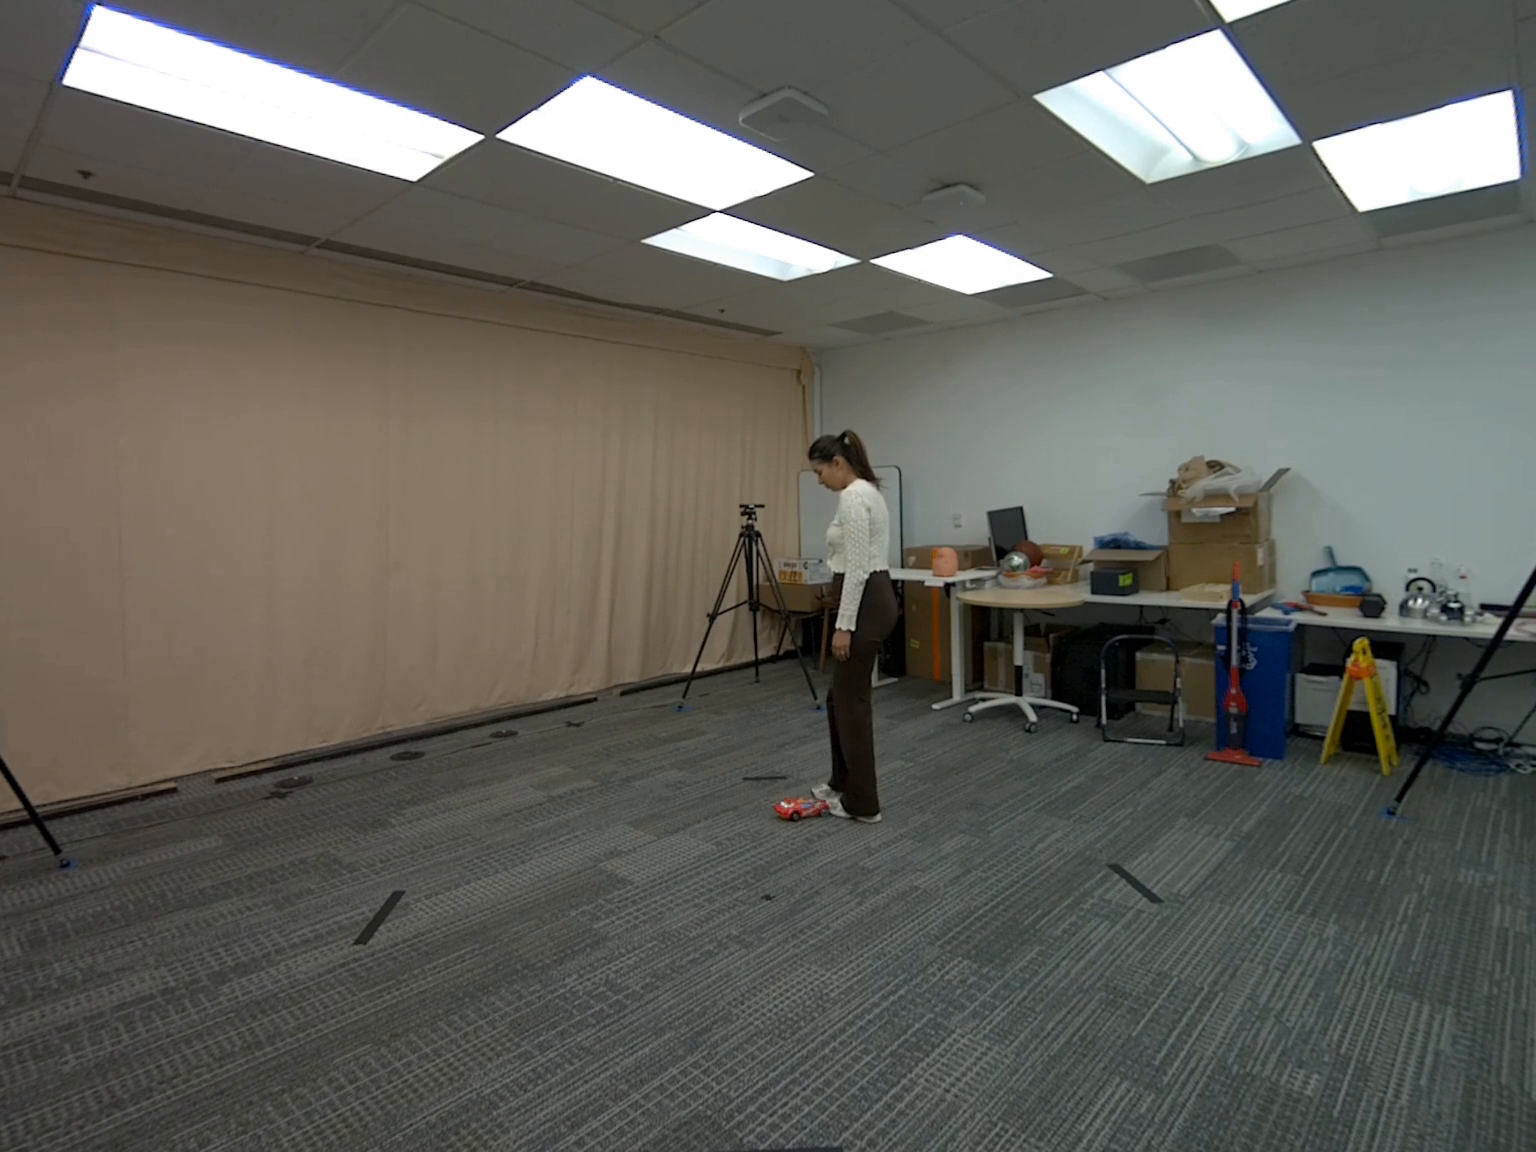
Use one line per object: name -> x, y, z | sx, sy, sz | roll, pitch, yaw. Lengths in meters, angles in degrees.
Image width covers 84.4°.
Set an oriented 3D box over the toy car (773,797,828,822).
toy car -> 0.143, 1.039, 3.763 | 0.249, 0.083, 0.133 | 8, -1, -22
